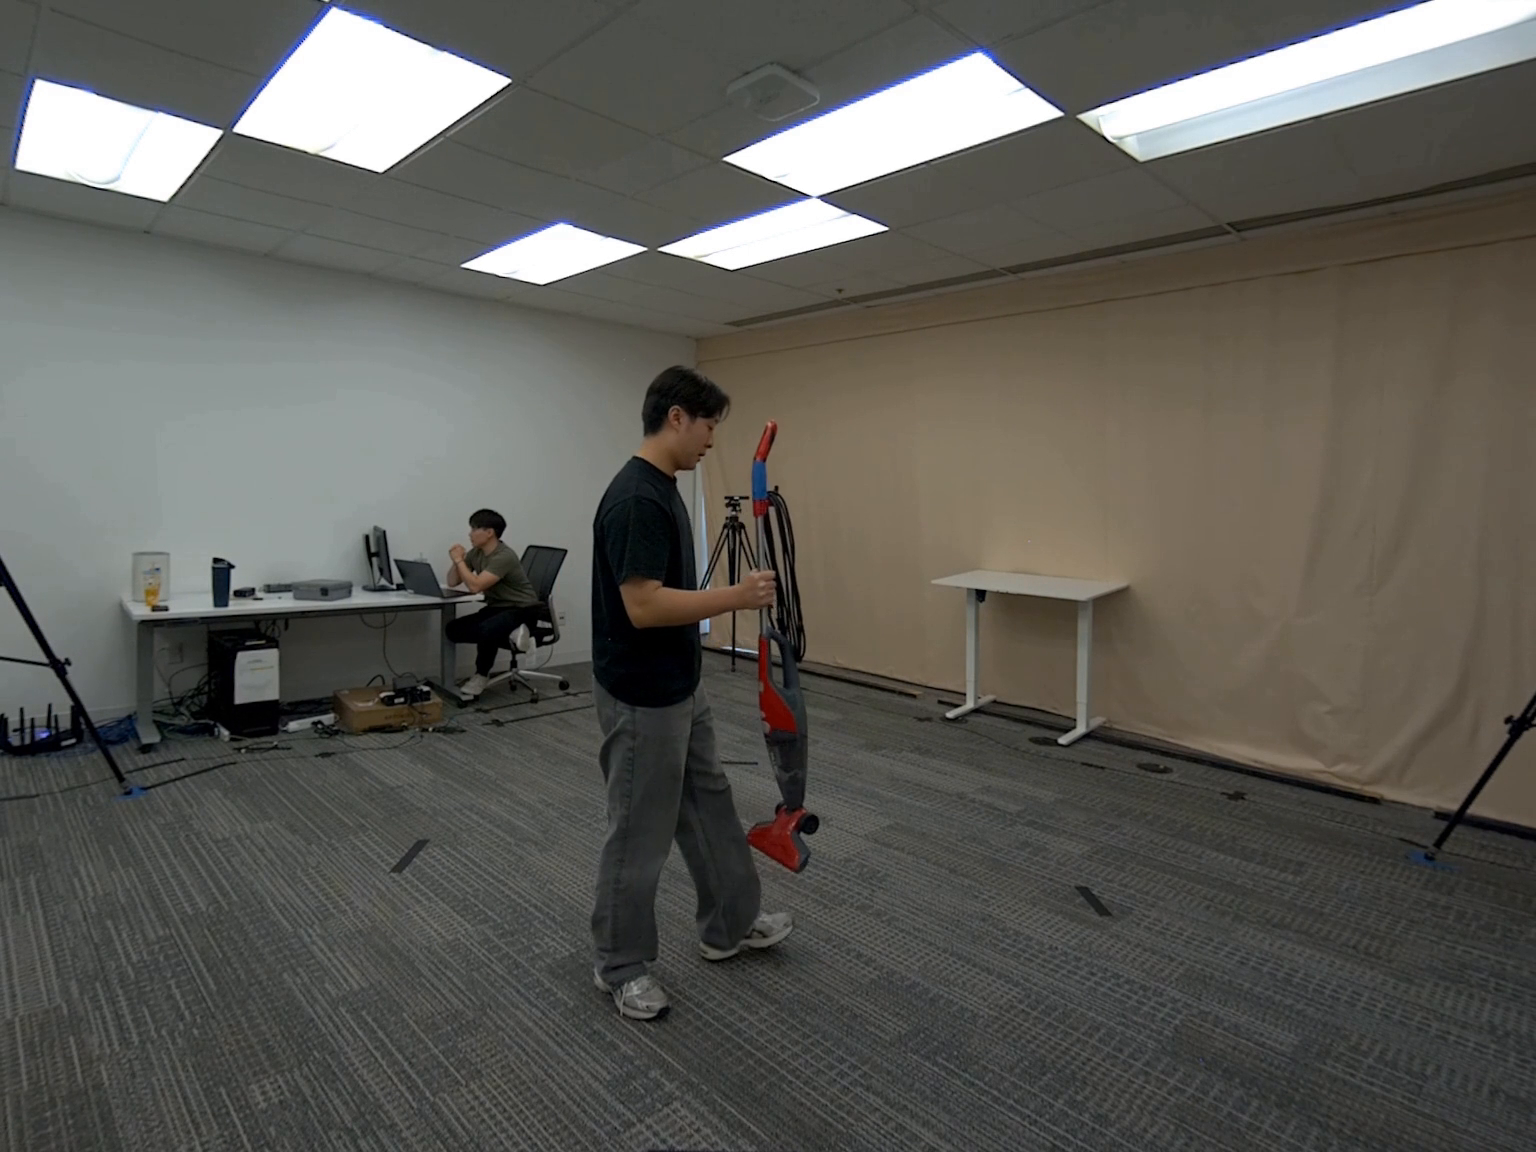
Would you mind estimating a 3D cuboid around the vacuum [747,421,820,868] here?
[{"bbox_3d":[0.026,0.144,2.157,0.142,1.050,0.256,-1,0,-19],"label":"vacuum"}]
